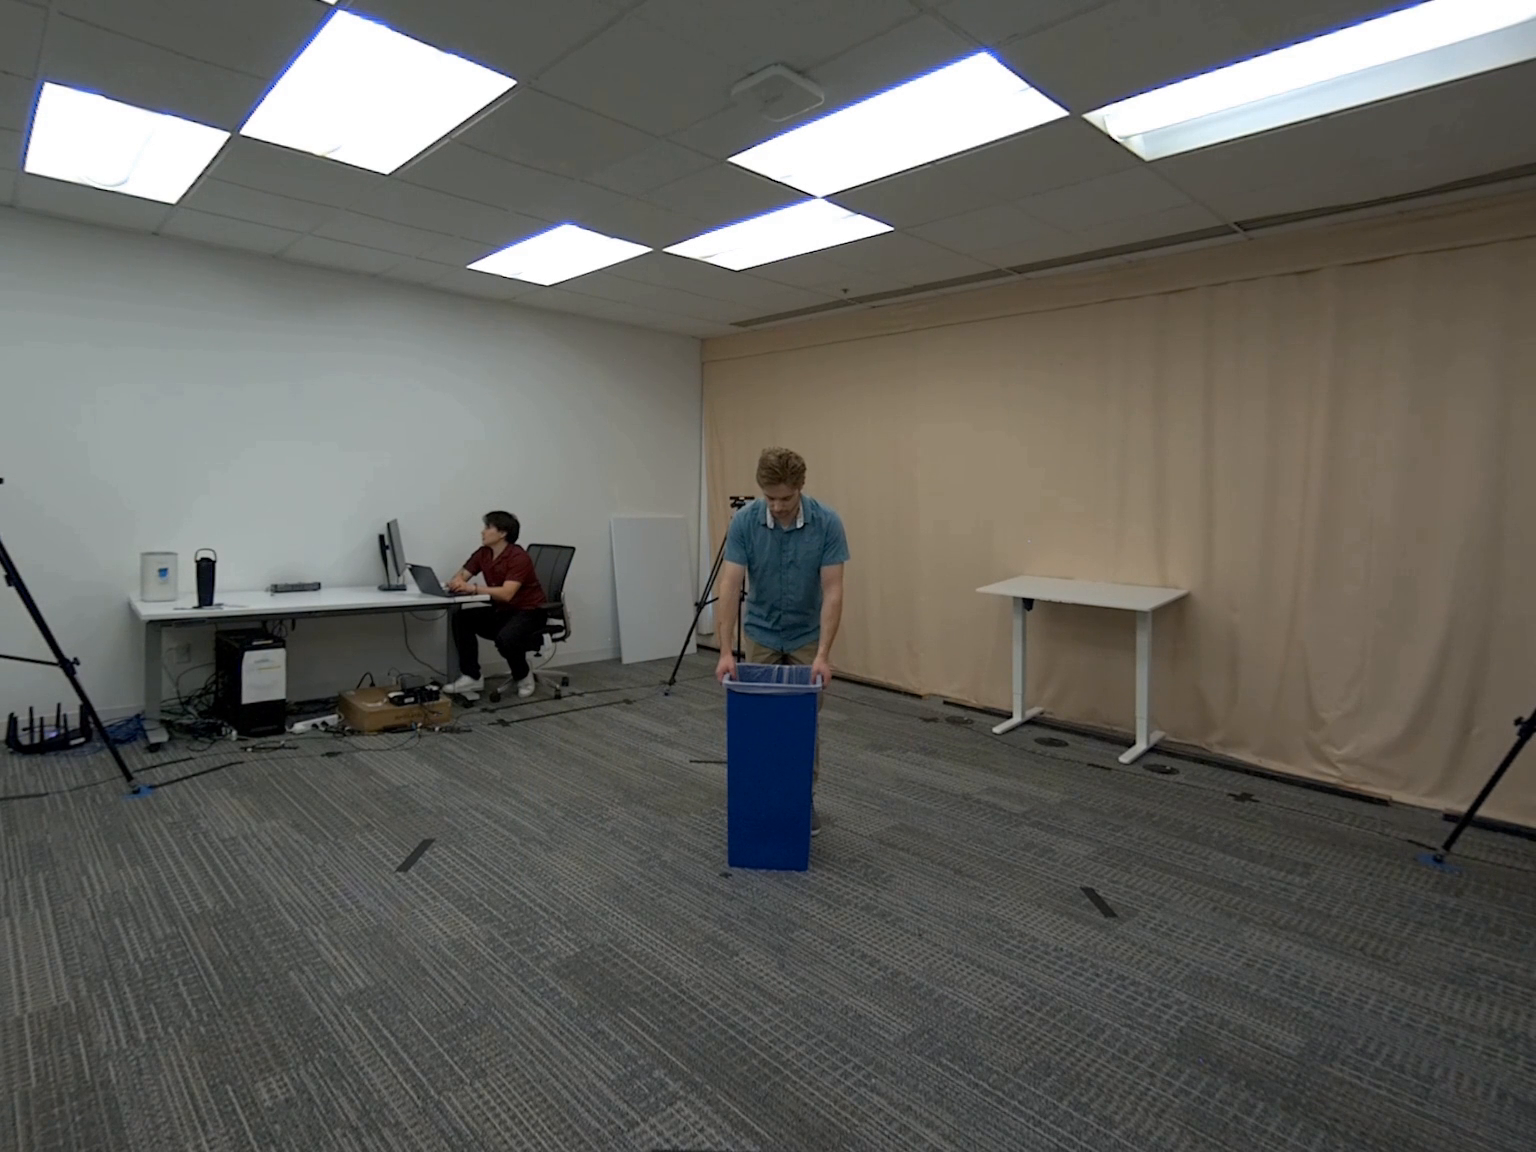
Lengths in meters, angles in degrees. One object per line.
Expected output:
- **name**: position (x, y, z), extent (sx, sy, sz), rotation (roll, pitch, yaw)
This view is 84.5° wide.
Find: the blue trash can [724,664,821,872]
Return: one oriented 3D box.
- **blue trash can**: position (-0.007, 0.740, 3.292), extent (0.375, 0.712, 0.378), rotation (2, 3, 2)
